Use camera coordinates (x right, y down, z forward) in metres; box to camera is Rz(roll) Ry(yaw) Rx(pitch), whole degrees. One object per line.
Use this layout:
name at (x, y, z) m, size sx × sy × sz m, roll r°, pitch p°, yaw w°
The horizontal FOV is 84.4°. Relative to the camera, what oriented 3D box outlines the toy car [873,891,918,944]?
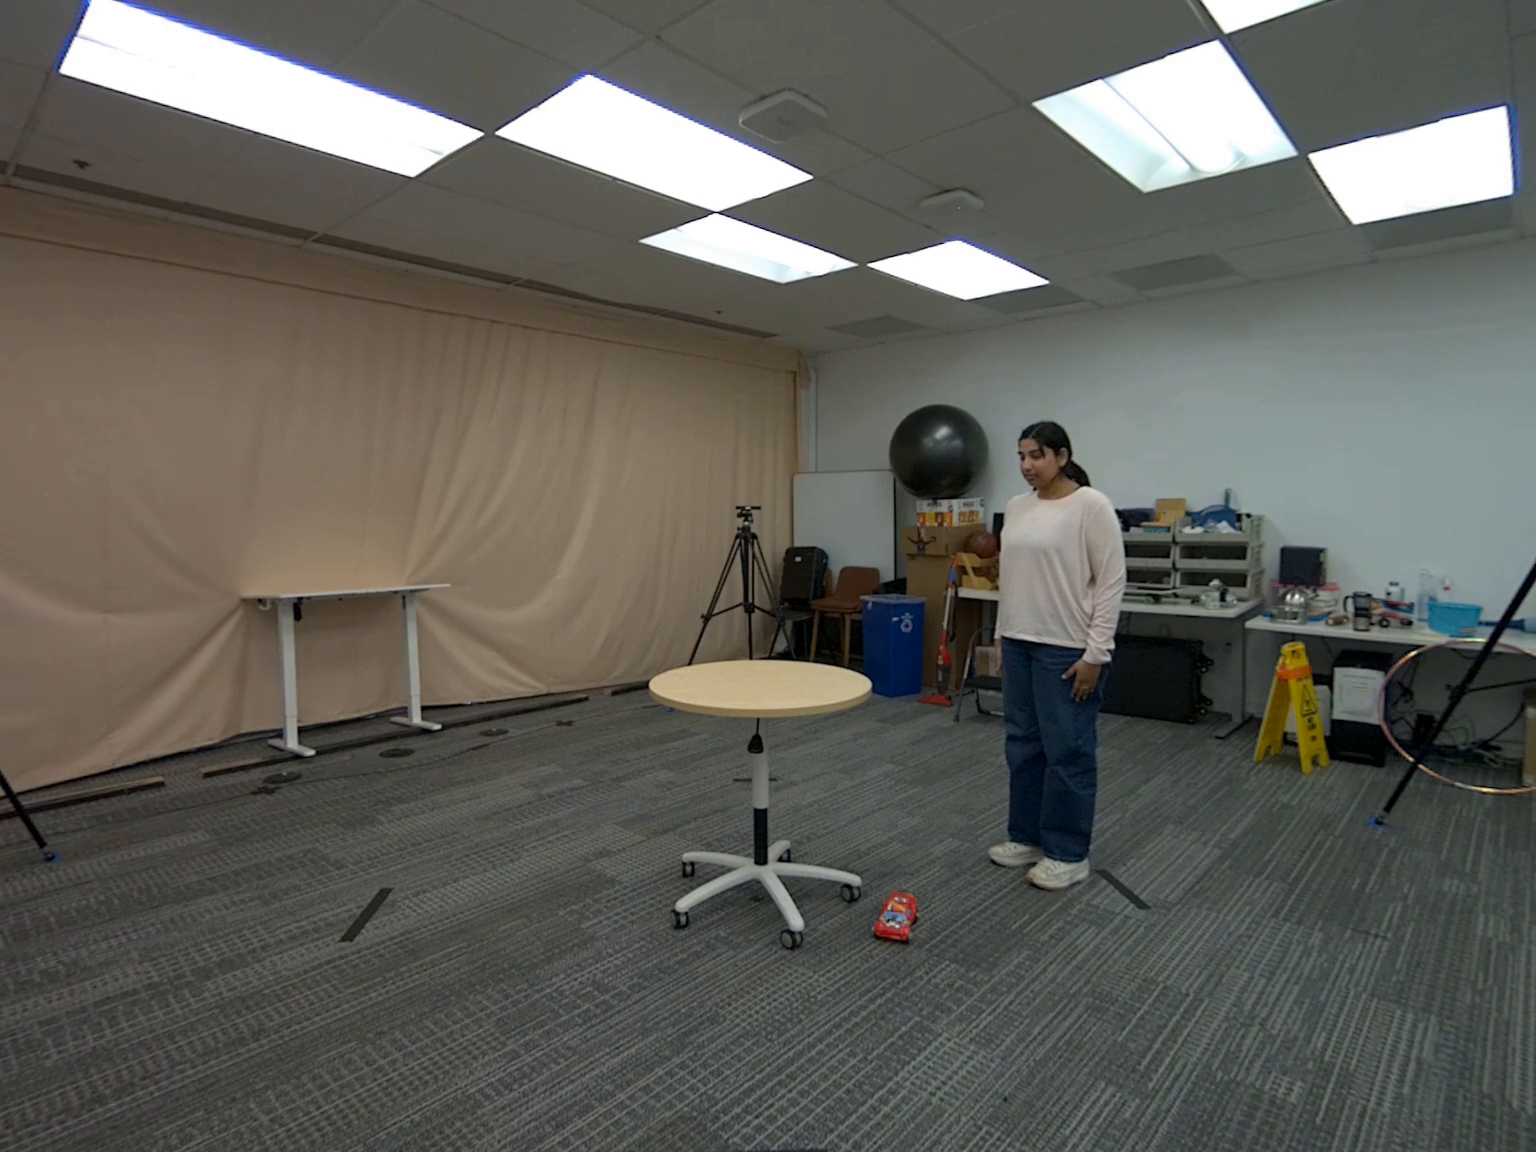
toy car at (0.431, 1.124, 2.783) m, size 0.133 × 0.082 × 0.251 m, roll 0°, pitch 15°, yaw 20°
